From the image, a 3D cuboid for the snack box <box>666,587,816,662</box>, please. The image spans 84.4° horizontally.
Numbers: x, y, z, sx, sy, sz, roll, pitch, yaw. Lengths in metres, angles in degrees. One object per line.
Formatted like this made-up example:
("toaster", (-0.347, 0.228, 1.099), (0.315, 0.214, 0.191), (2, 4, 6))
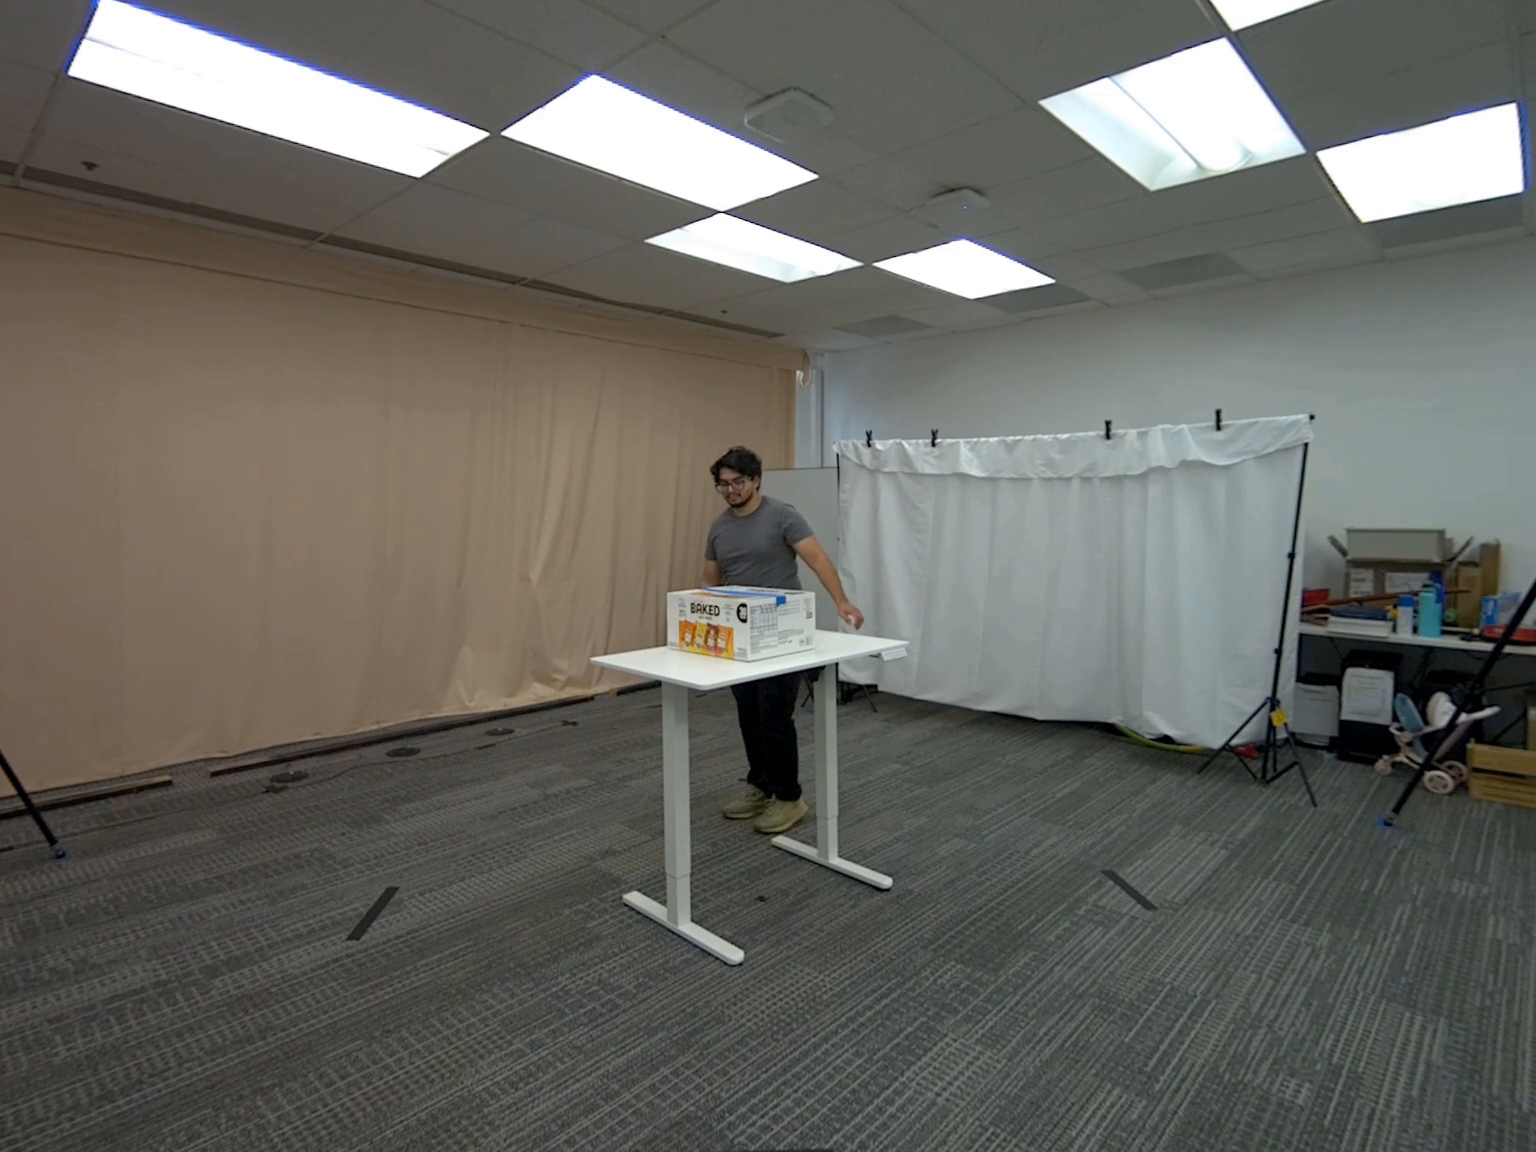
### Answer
("snack box", (-0.095, 0.158, 2.989), (0.419, 0.205, 0.330), (4, 7, 44))
